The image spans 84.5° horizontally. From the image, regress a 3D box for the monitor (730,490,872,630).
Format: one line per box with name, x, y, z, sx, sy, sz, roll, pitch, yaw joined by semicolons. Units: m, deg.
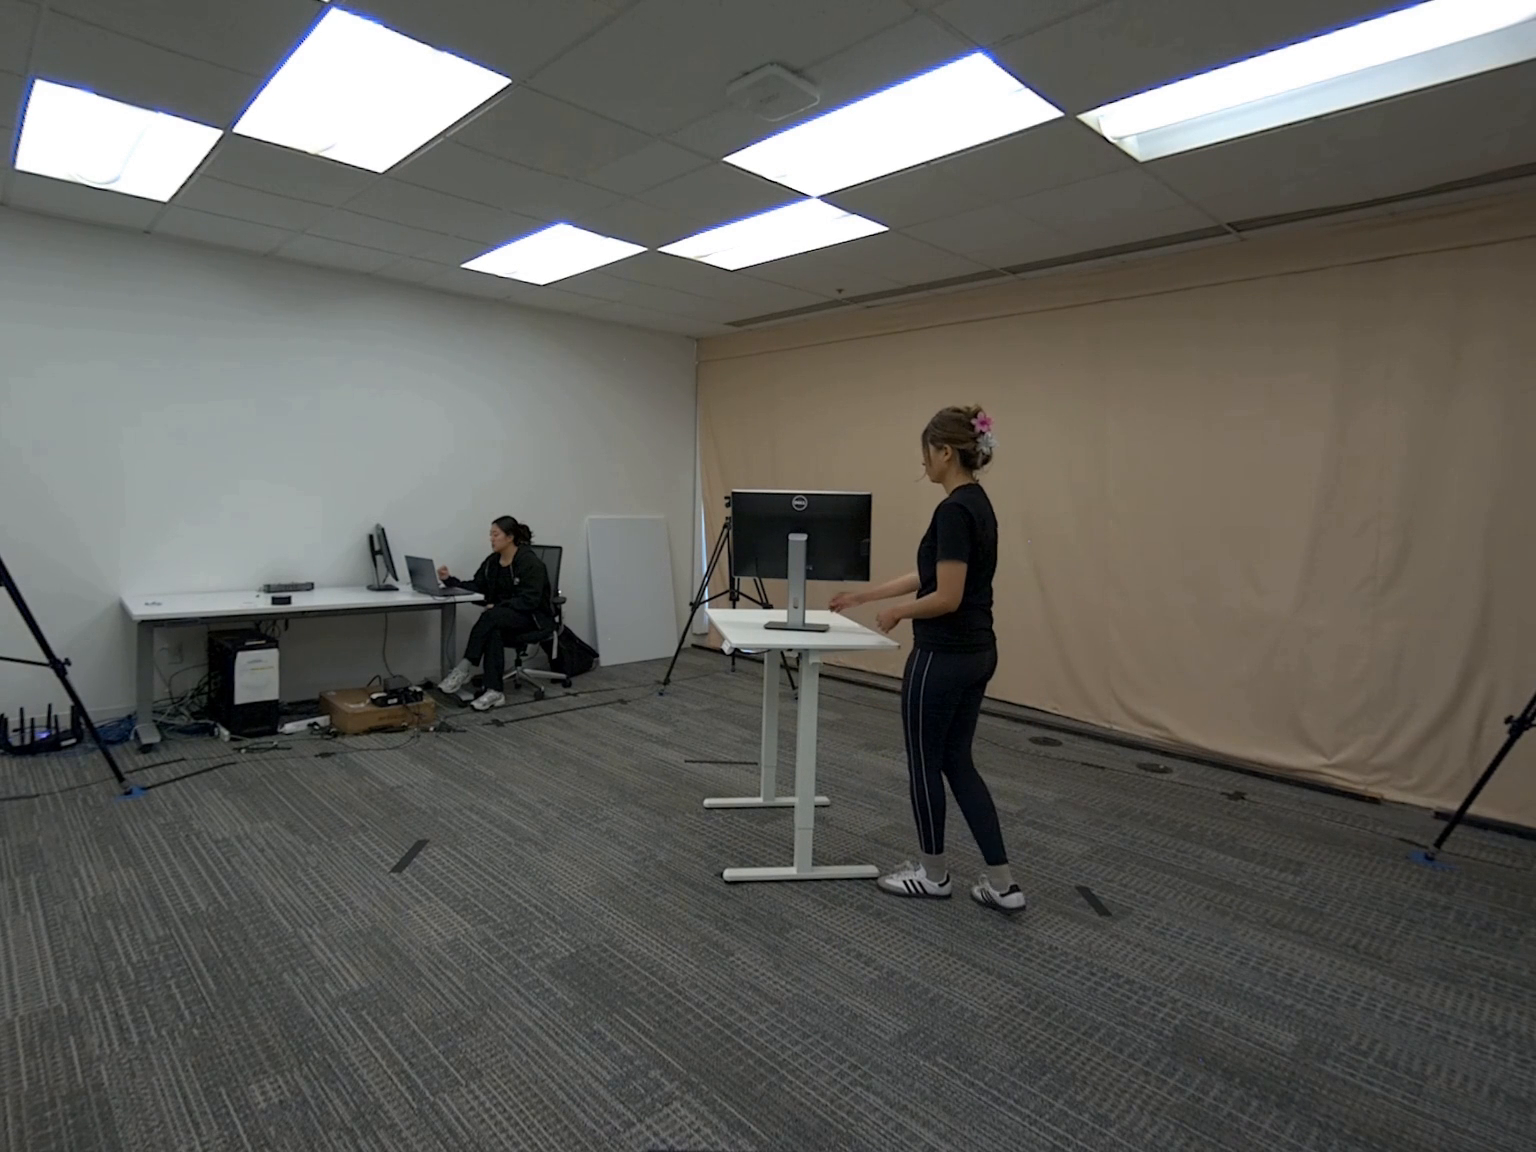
monitor;0.117;-0.055;3.319;0.542;0.522;0.186;1;2;7
